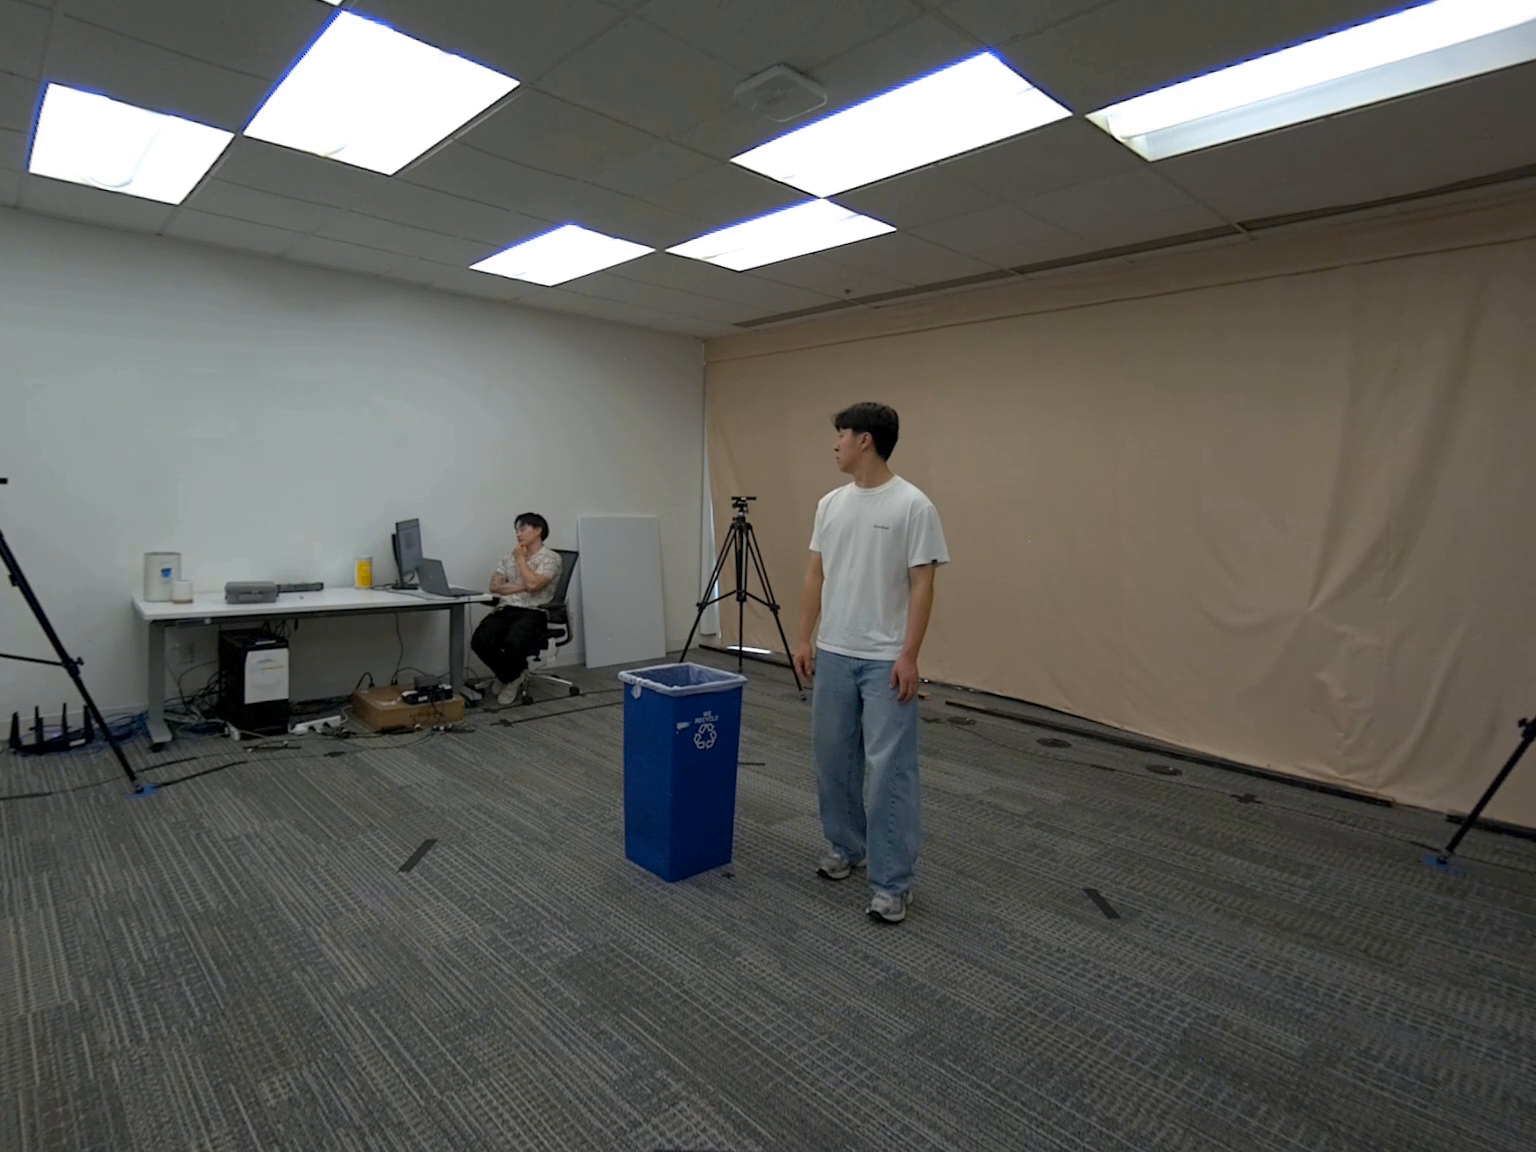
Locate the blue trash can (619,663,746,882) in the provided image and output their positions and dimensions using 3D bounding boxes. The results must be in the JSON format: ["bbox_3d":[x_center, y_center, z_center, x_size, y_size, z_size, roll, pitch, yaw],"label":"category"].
[{"bbox_3d":[-0.338,0.729,3.228,0.365,0.712,0.388,-2,5,-44],"label":"blue trash can"}]
